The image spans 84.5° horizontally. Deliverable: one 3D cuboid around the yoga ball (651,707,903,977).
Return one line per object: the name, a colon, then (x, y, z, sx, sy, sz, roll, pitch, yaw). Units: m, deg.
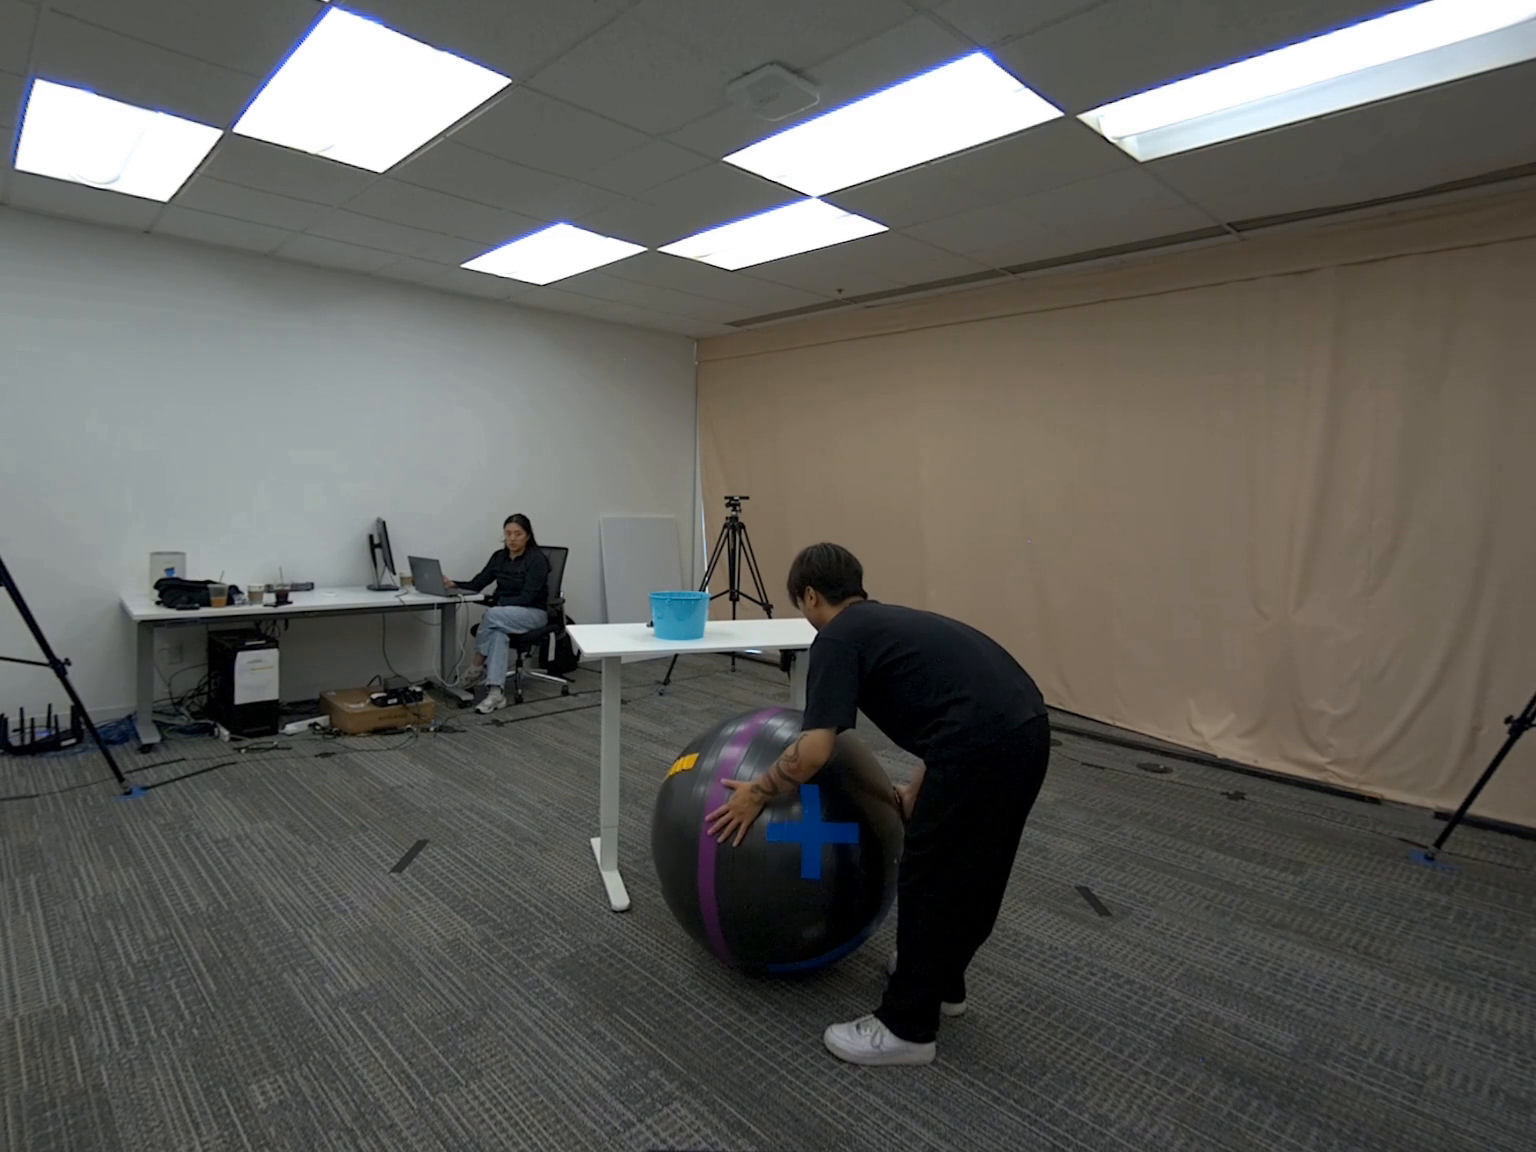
yoga ball: (0.023, 0.794, 2.543, 0.757, 0.756, 0.761, 1, 4, -1)
